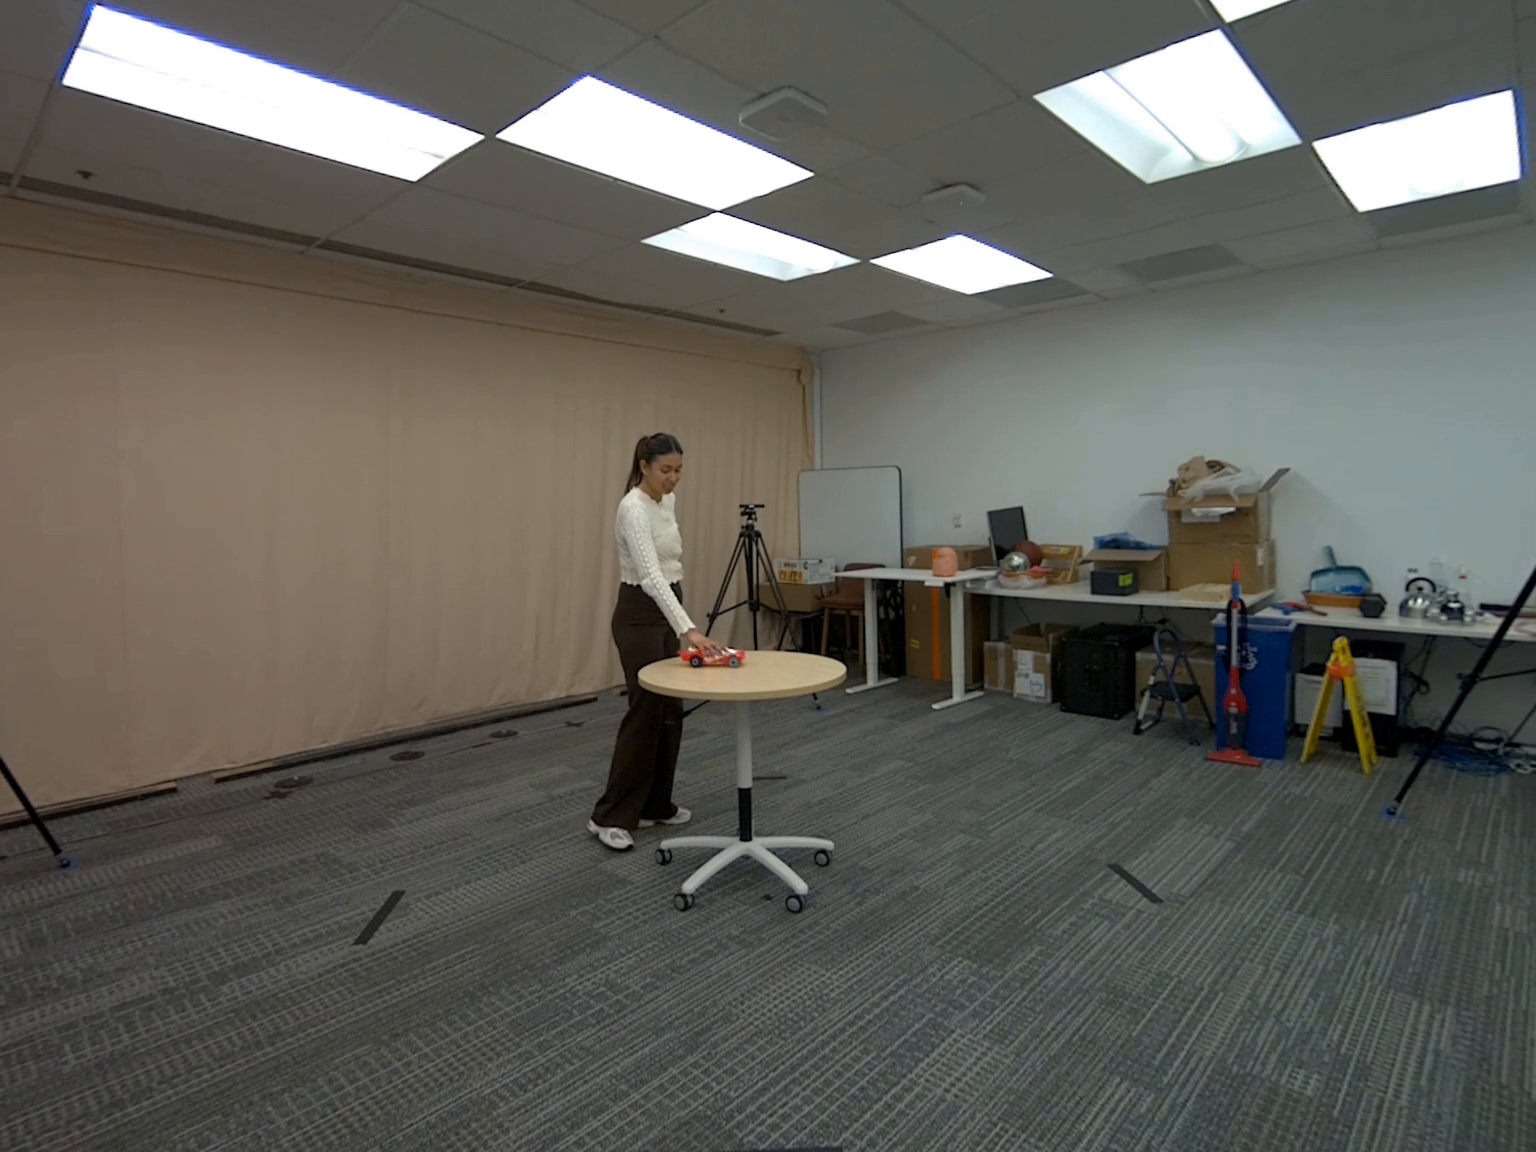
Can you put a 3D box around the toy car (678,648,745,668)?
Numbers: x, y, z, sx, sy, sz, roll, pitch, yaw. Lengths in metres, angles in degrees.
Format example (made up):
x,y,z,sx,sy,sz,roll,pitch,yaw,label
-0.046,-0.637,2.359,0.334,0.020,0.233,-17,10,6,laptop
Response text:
x,y,z,sx,sy,sz,roll,pitch,yaw,label
-0.214,0.307,3.209,0.257,0.083,0.129,10,4,7,toy car
